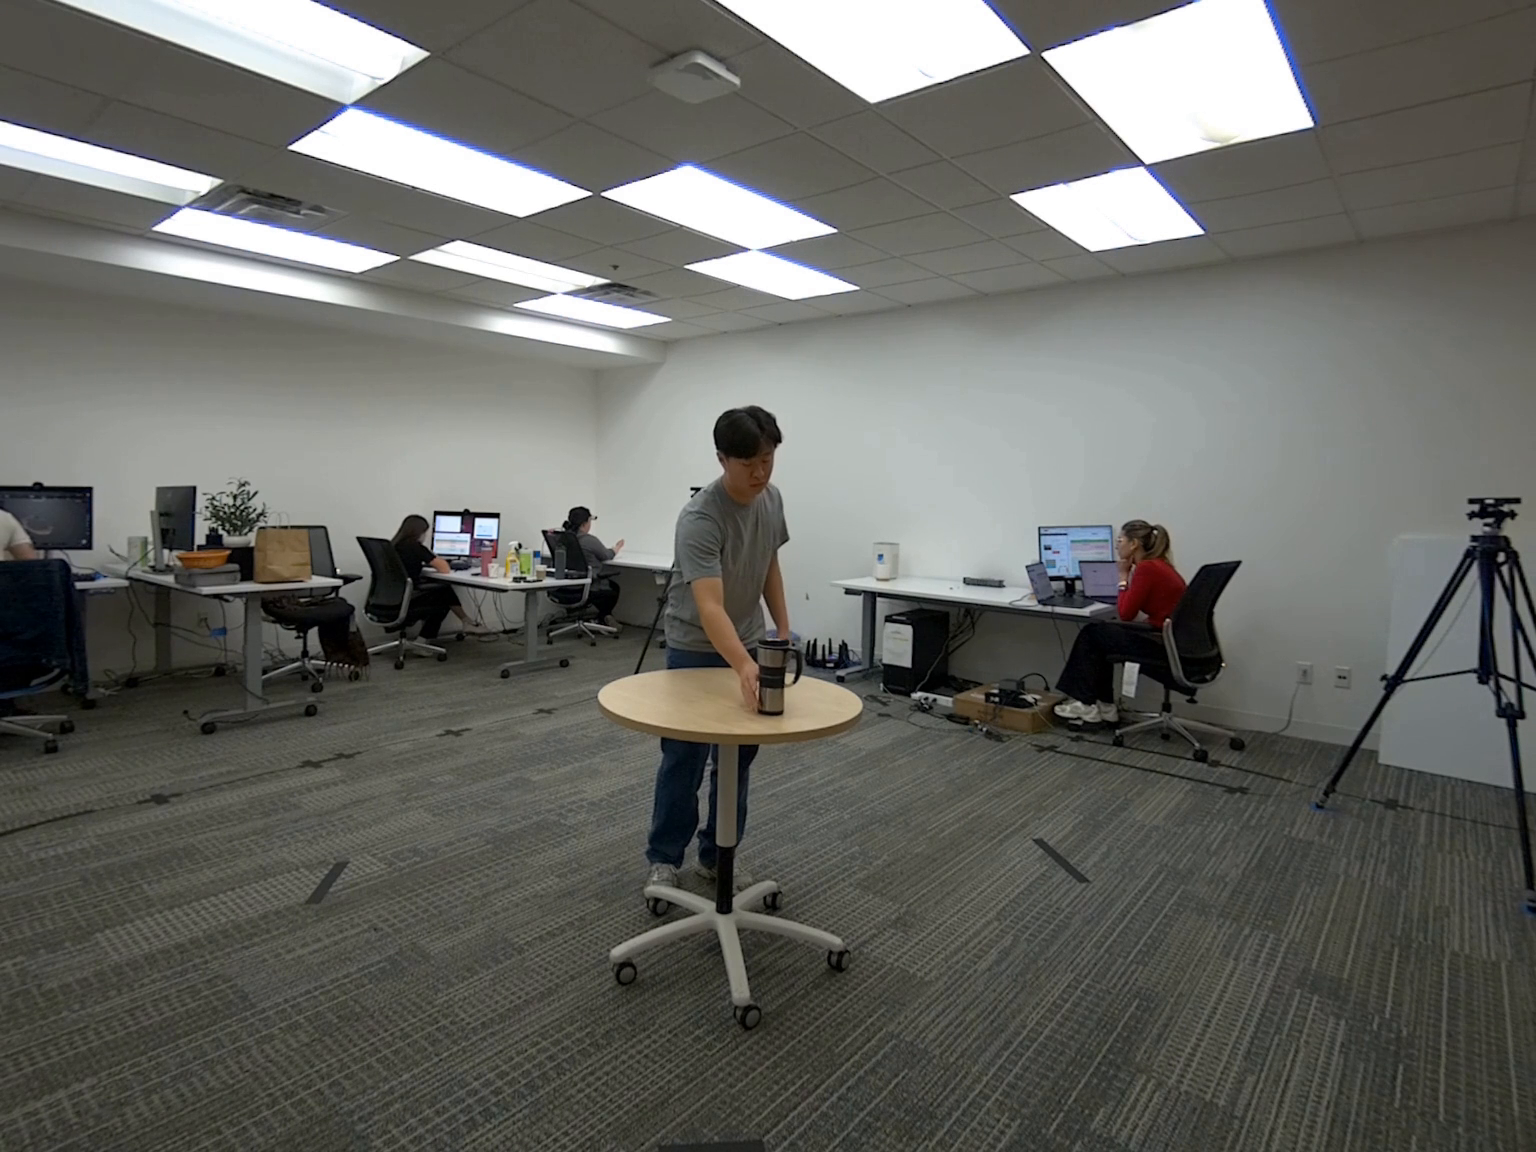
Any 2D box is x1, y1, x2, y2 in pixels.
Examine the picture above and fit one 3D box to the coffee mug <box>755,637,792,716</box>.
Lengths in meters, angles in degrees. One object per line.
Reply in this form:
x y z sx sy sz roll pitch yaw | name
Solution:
0.016 0.268 2.291 0.126 0.203 0.085 -1 -1 40 | coffee mug
